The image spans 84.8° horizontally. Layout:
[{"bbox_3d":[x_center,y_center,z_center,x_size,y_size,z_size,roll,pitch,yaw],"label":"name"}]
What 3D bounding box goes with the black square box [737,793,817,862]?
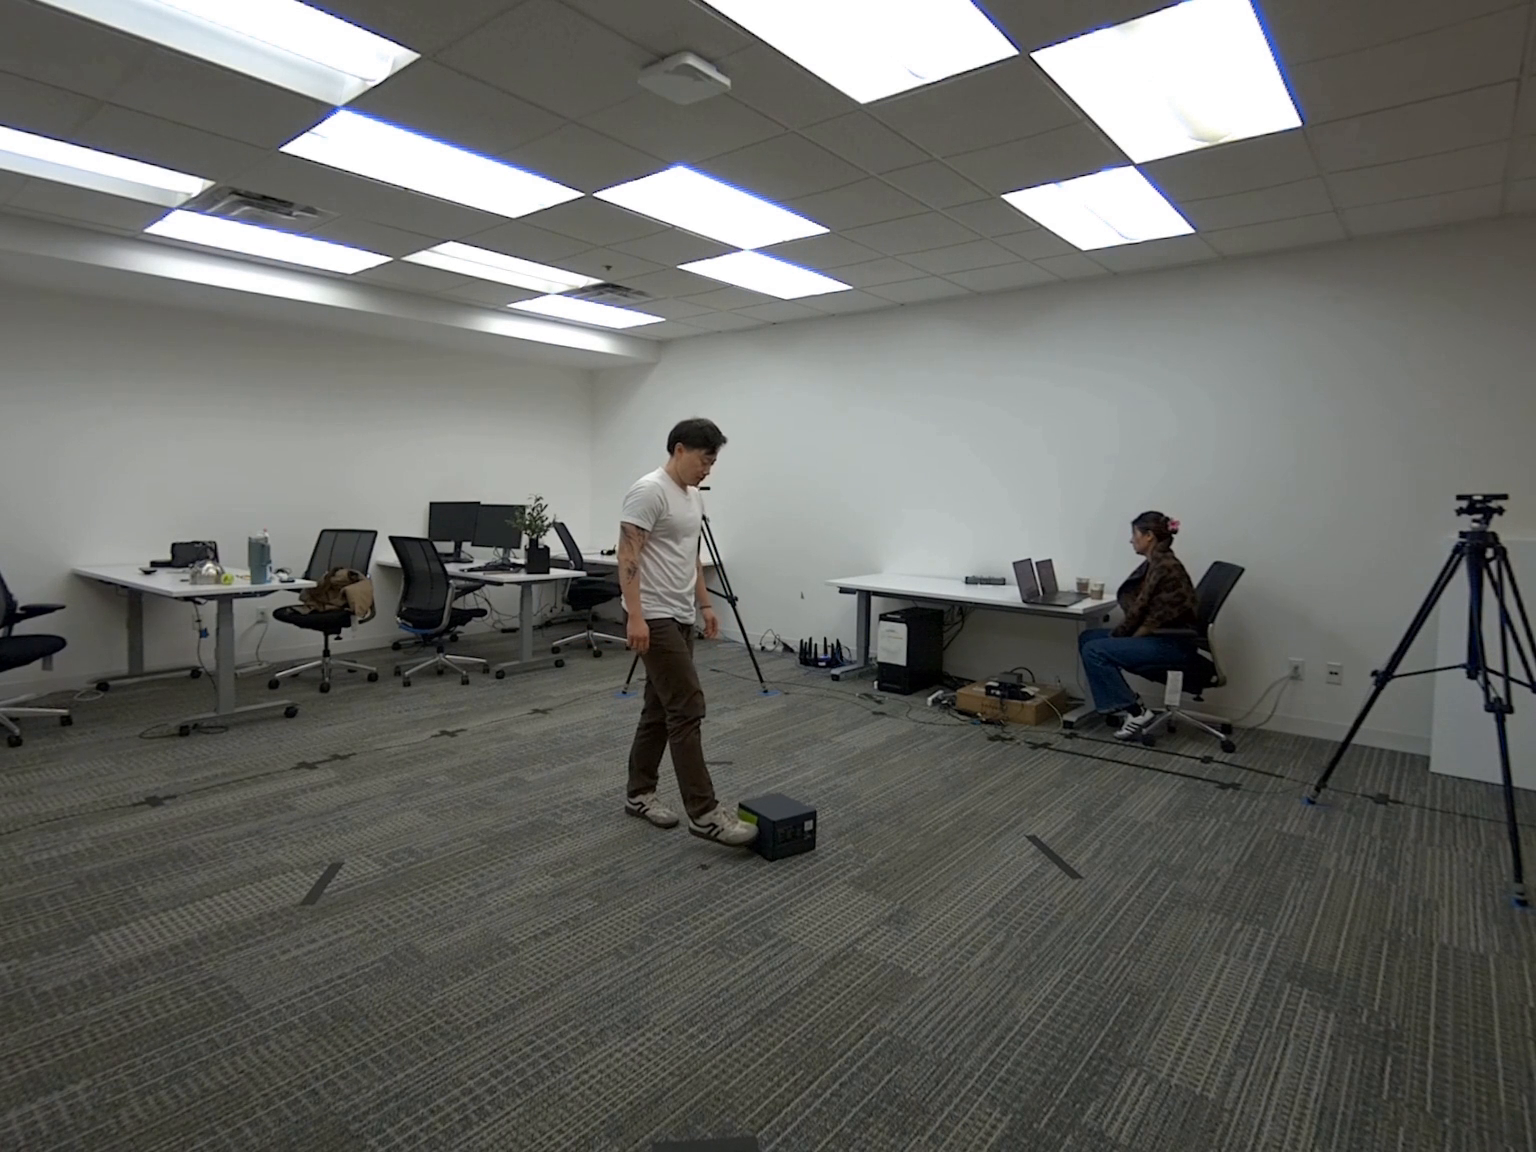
[{"bbox_3d":[0.026,0.968,3.311,0.210,0.155,0.235,-2,6,-37],"label":"black square box"}]
